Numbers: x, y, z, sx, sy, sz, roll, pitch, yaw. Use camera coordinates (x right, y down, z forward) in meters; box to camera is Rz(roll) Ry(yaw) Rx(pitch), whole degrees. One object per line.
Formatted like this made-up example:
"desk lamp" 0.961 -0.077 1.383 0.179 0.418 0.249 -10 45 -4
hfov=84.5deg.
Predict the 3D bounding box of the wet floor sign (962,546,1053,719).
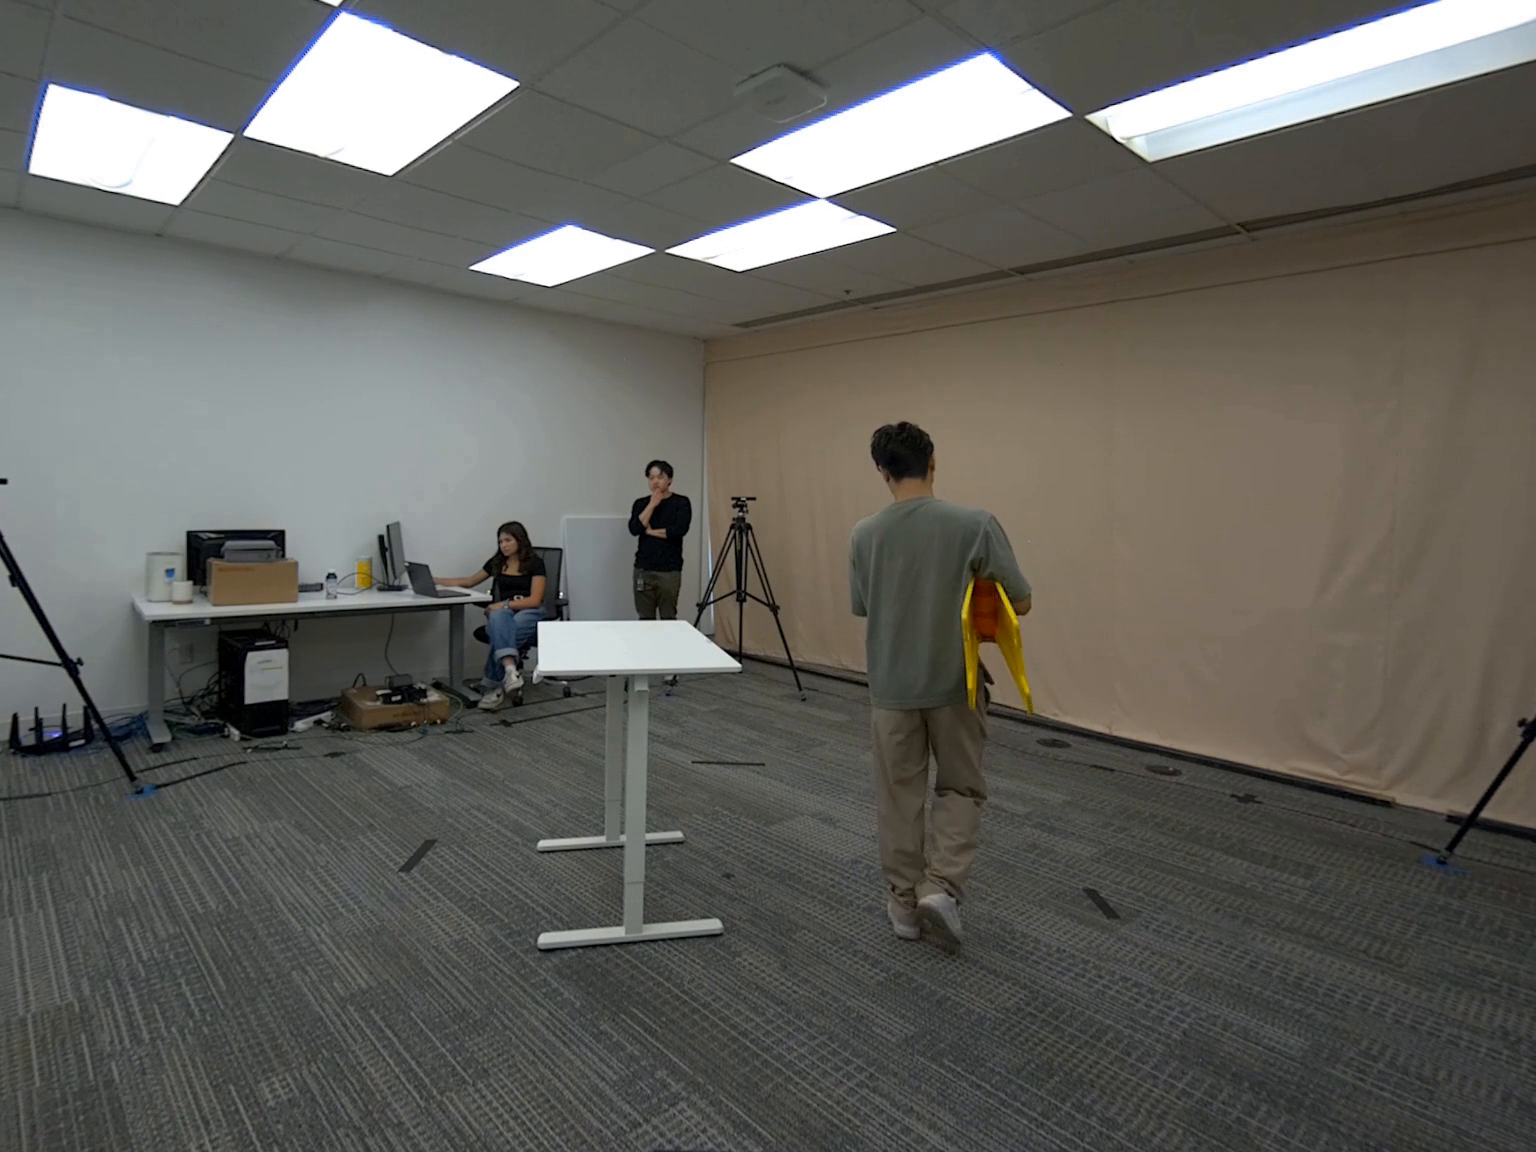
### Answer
"wet floor sign" 0.676 0.141 2.569 0.293 0.278 0.647 0 19 14
